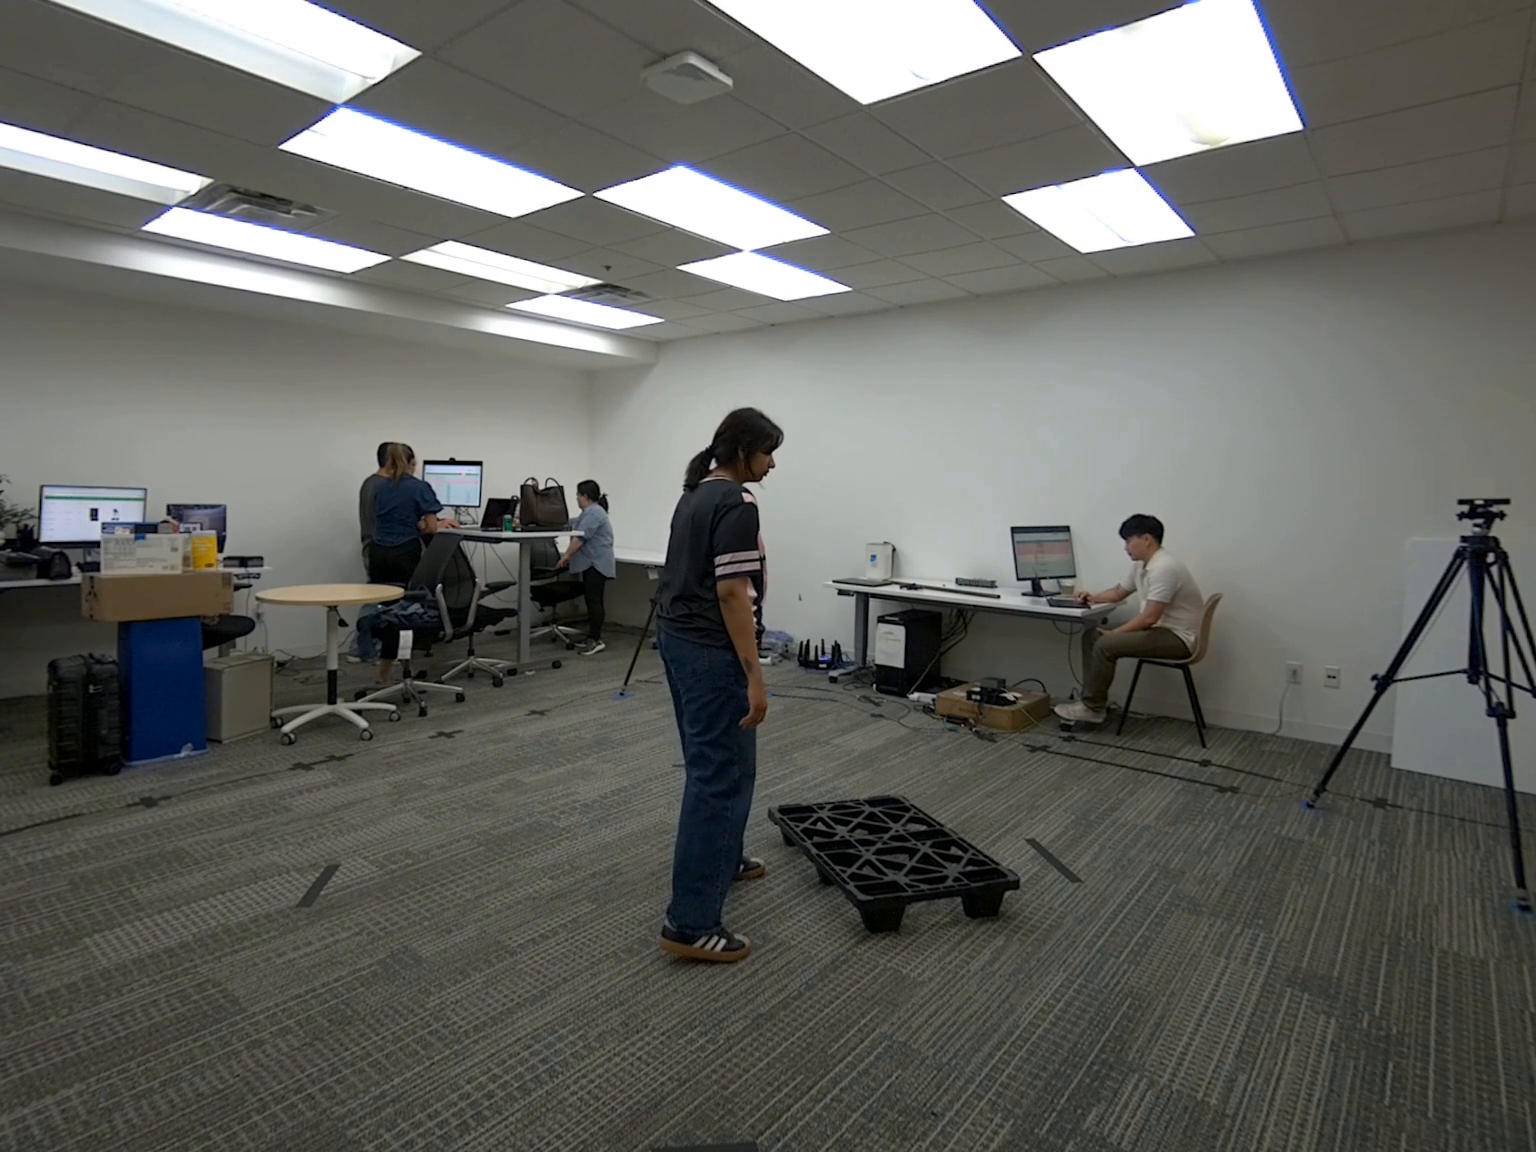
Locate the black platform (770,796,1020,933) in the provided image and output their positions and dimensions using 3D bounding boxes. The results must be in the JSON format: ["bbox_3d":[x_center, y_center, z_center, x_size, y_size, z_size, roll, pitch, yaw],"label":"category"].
[{"bbox_3d":[0.409,1.019,3.088,0.593,0.143,0.825,-1,6,-20],"label":"black platform"}]
